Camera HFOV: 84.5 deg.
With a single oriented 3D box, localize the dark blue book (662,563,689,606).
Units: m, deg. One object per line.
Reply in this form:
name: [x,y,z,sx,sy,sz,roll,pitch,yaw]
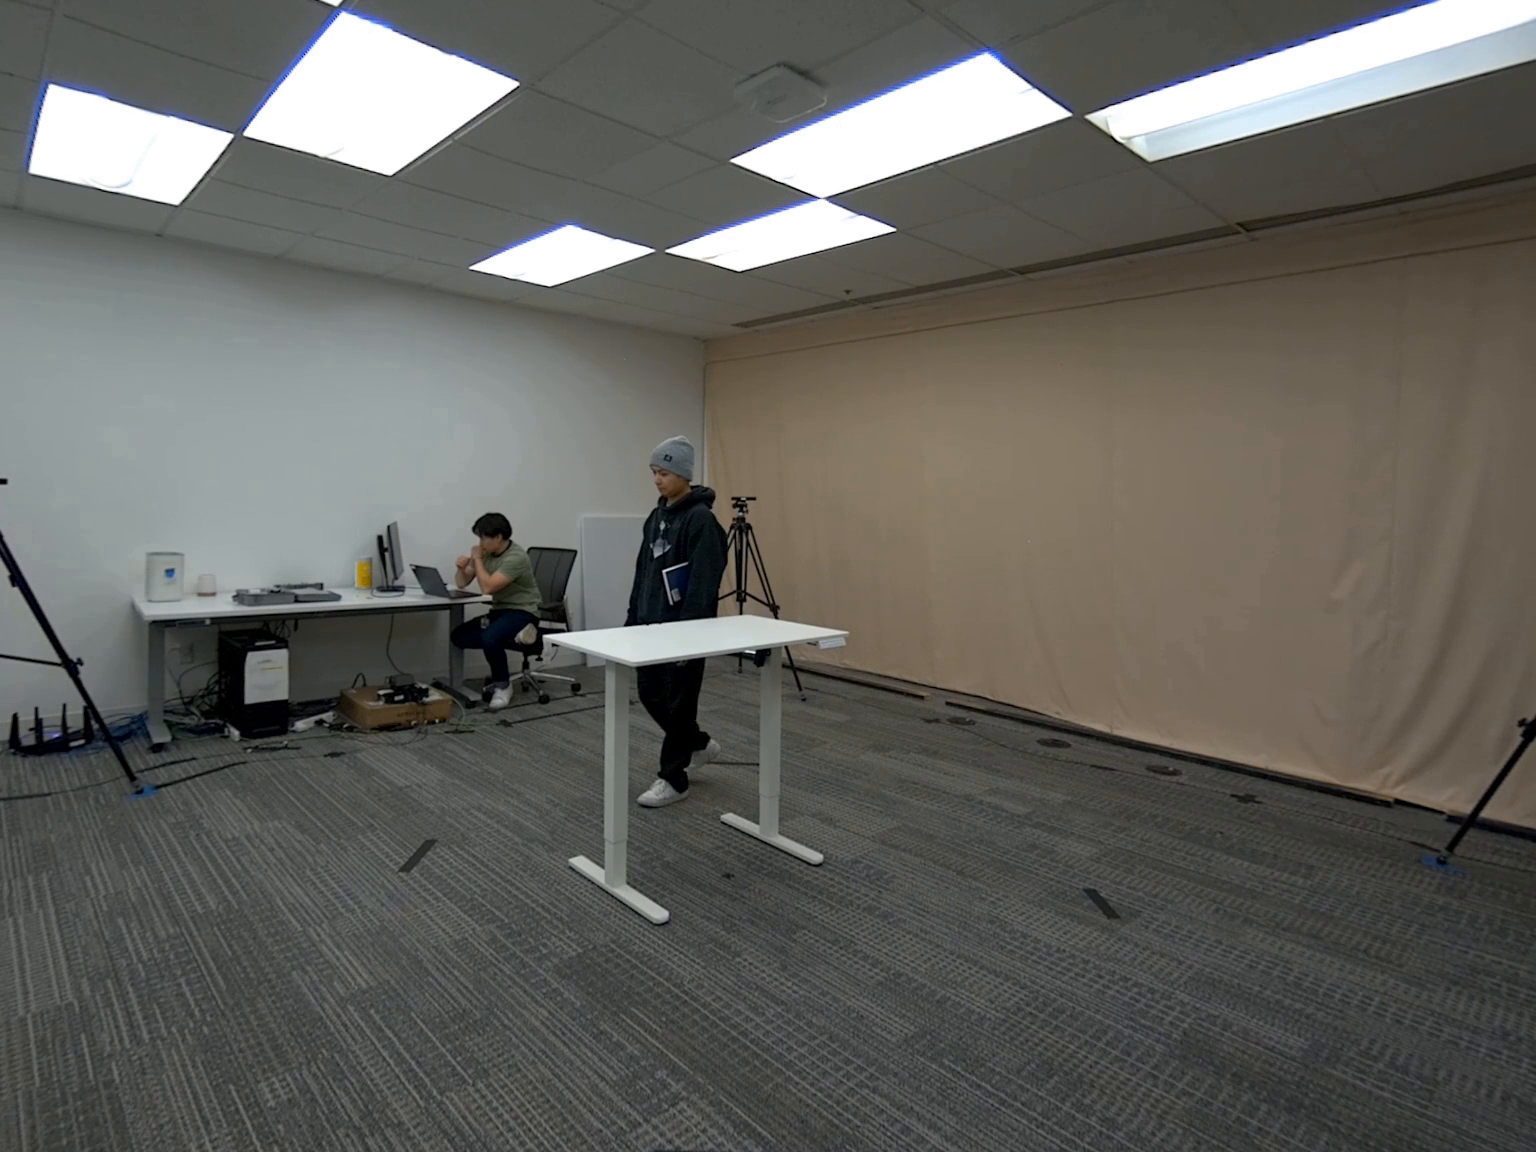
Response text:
dark blue book: [-0.356,0.015,3.751,0.242,0.161,0.046,-18,16,-25]
